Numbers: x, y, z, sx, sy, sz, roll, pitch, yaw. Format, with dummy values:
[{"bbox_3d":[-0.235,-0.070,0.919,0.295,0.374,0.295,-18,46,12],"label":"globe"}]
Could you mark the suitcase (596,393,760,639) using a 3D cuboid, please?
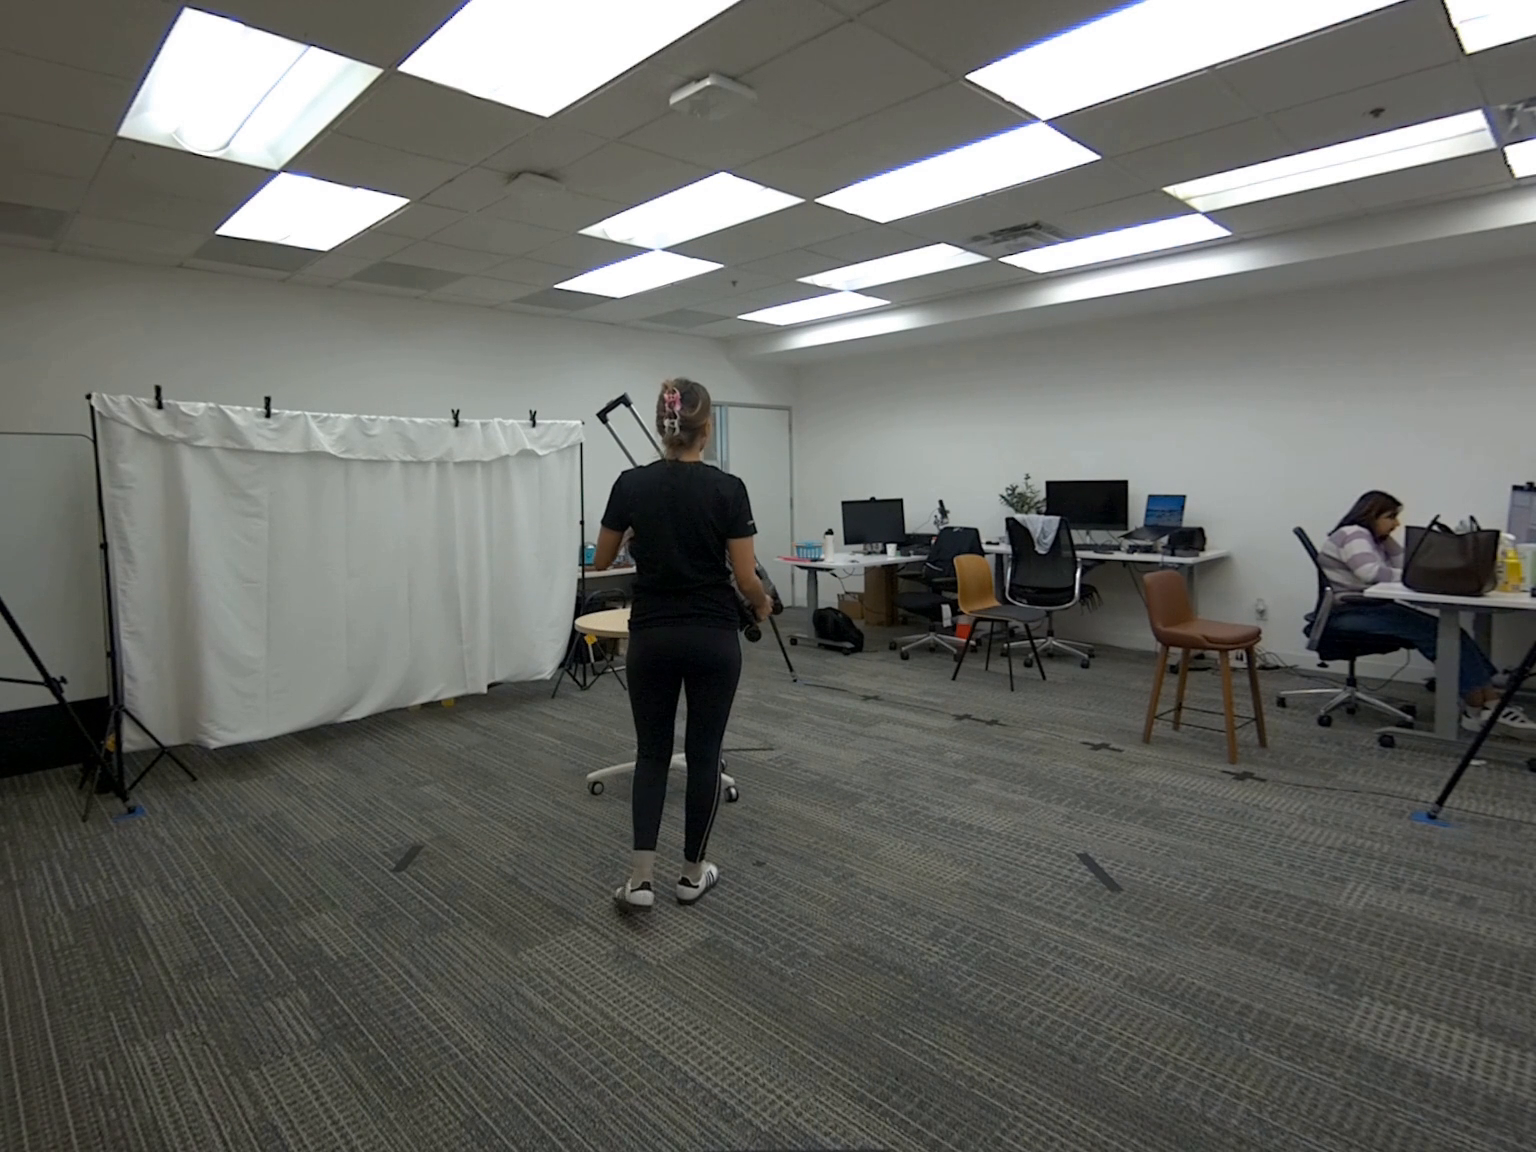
[{"bbox_3d":[-0.342,-0.187,3.099,0.389,0.967,0.257,-27,11,34],"label":"suitcase"}]
